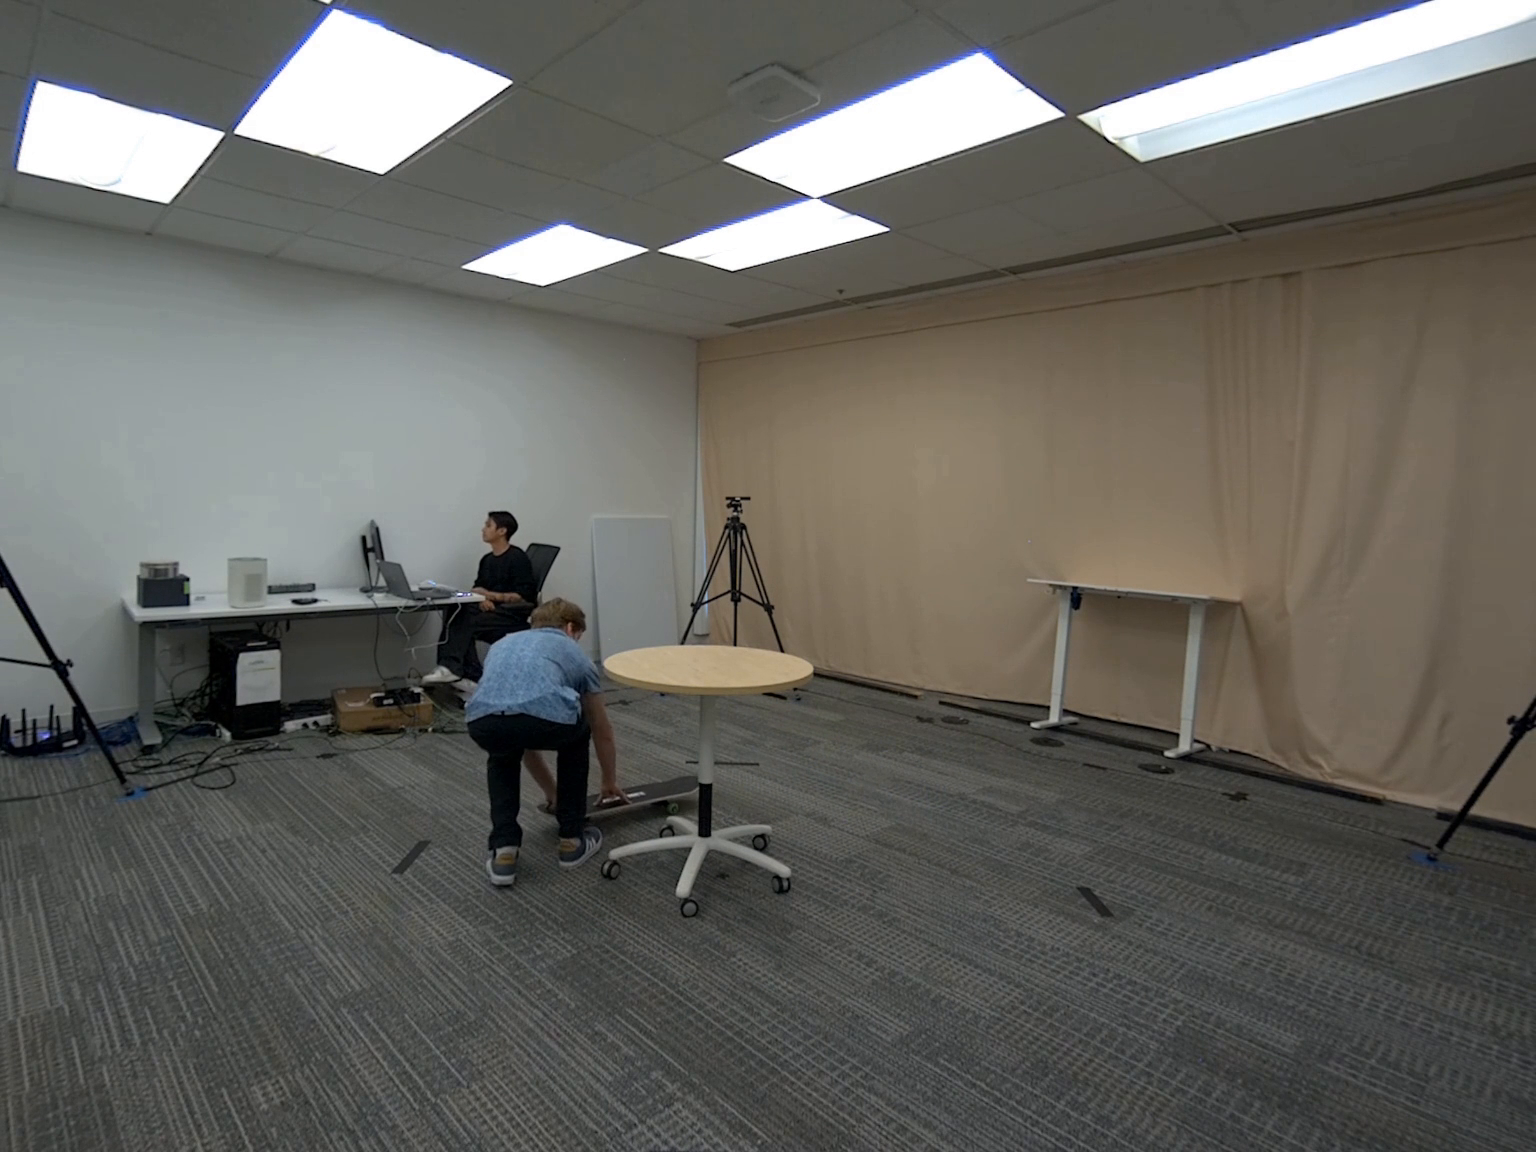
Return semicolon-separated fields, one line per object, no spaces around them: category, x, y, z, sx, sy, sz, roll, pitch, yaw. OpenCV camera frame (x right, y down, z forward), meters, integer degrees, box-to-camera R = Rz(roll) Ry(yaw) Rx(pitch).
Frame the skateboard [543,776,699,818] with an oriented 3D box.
skateboard;-0.633;0.994;3.651;0.768;0.110;0.198;-3;6;-36
